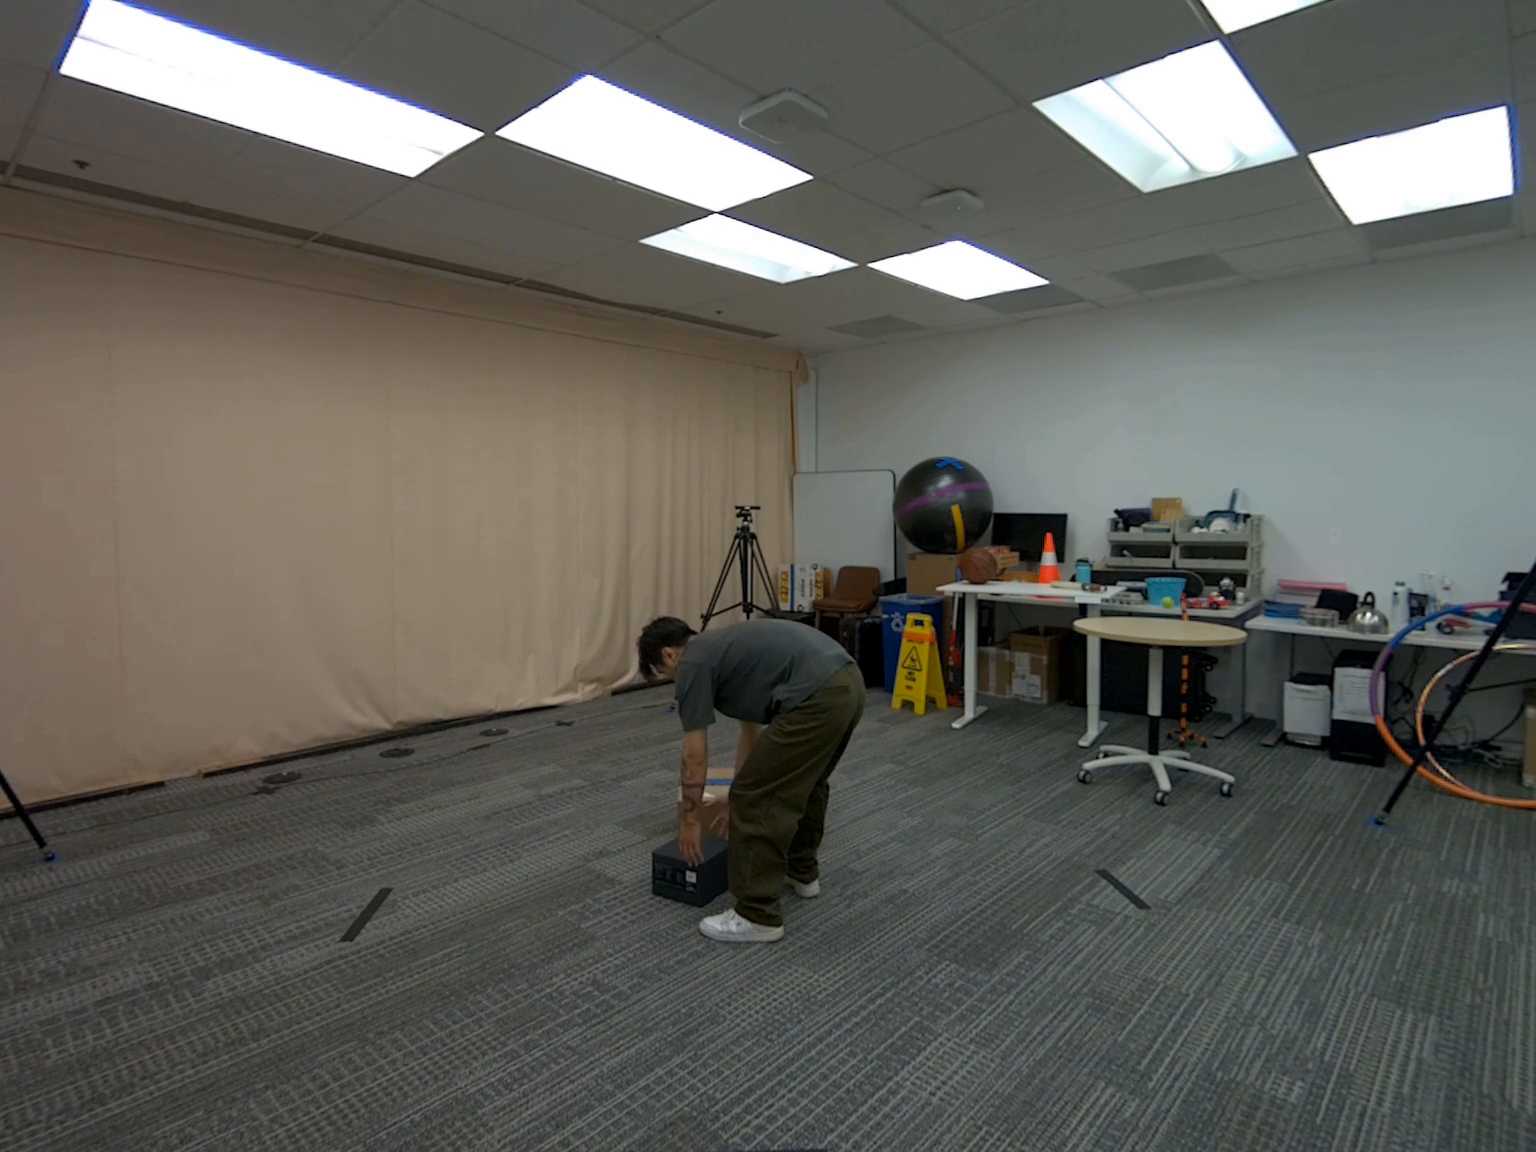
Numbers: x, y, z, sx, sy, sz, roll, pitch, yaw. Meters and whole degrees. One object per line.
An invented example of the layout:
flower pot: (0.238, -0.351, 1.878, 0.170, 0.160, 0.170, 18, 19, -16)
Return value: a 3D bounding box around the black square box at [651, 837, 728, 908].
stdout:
black square box: (-0.269, 1.060, 3.058, 0.223, 0.155, 0.222, 2, 5, 30)
